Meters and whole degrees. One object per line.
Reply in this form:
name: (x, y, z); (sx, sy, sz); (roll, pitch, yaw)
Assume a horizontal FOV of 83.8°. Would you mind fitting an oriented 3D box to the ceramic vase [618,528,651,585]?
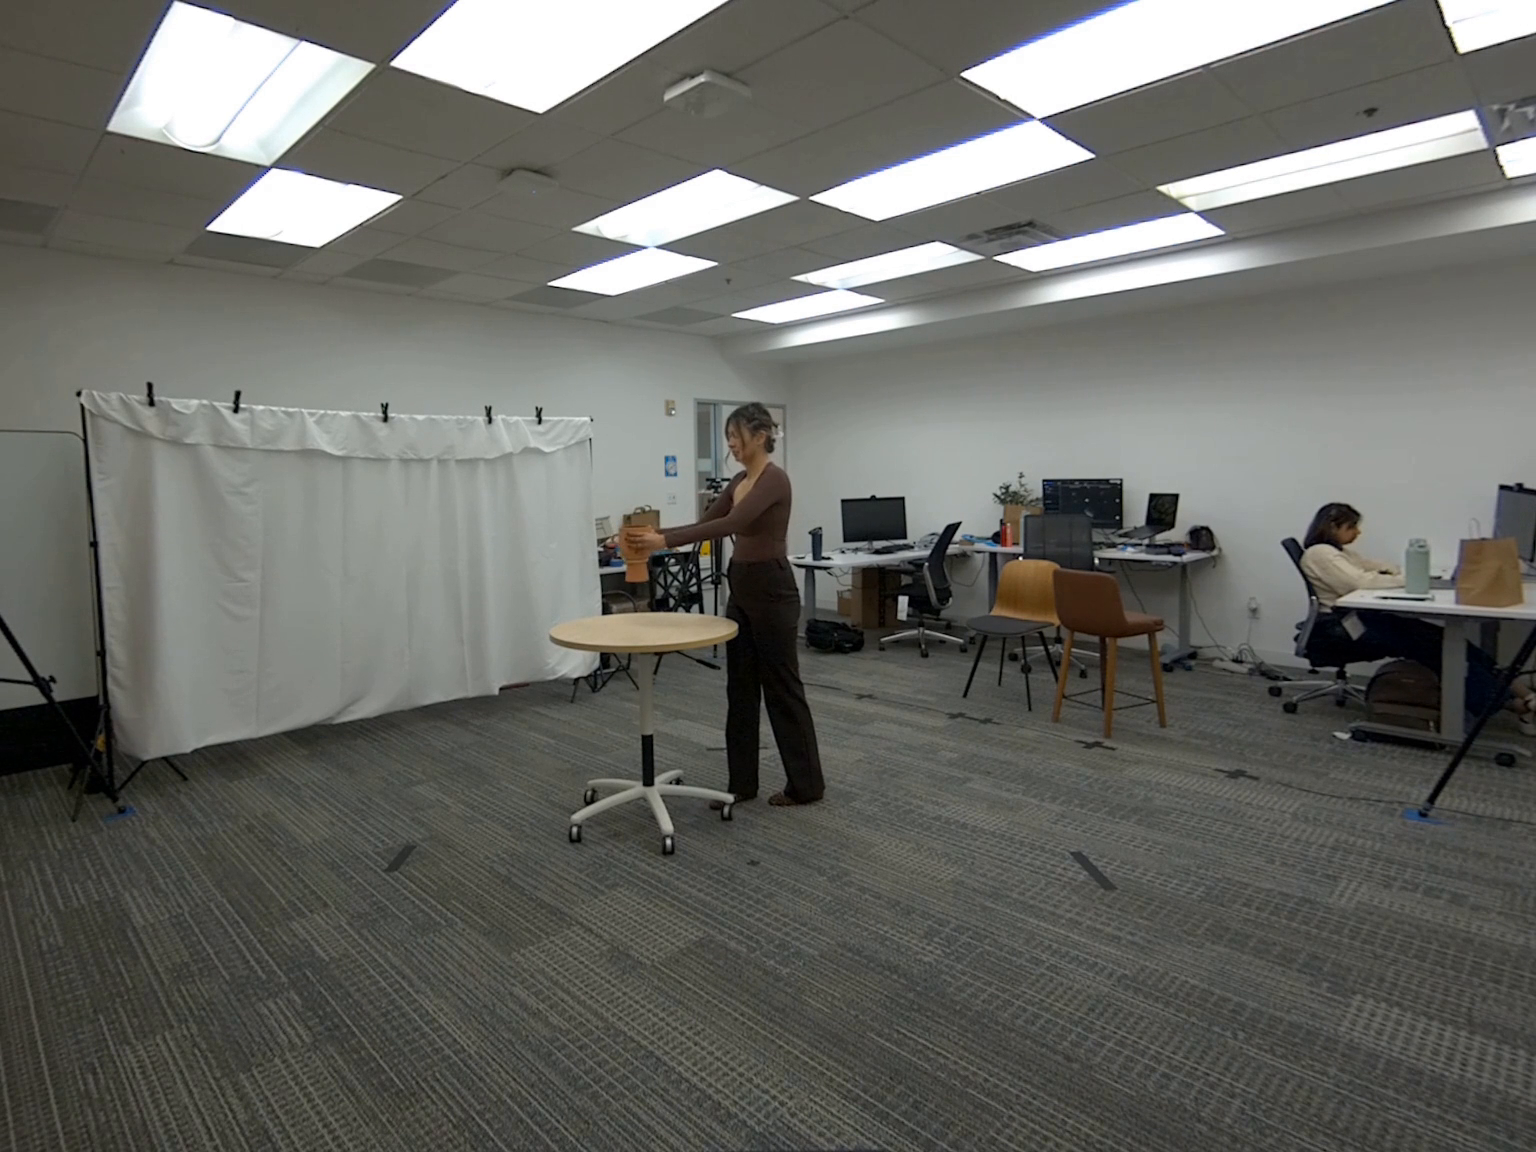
ceramic vase: (-0.544, -0.090, 3.470); (0.163, 0.219, 0.131); (3, 7, 36)
